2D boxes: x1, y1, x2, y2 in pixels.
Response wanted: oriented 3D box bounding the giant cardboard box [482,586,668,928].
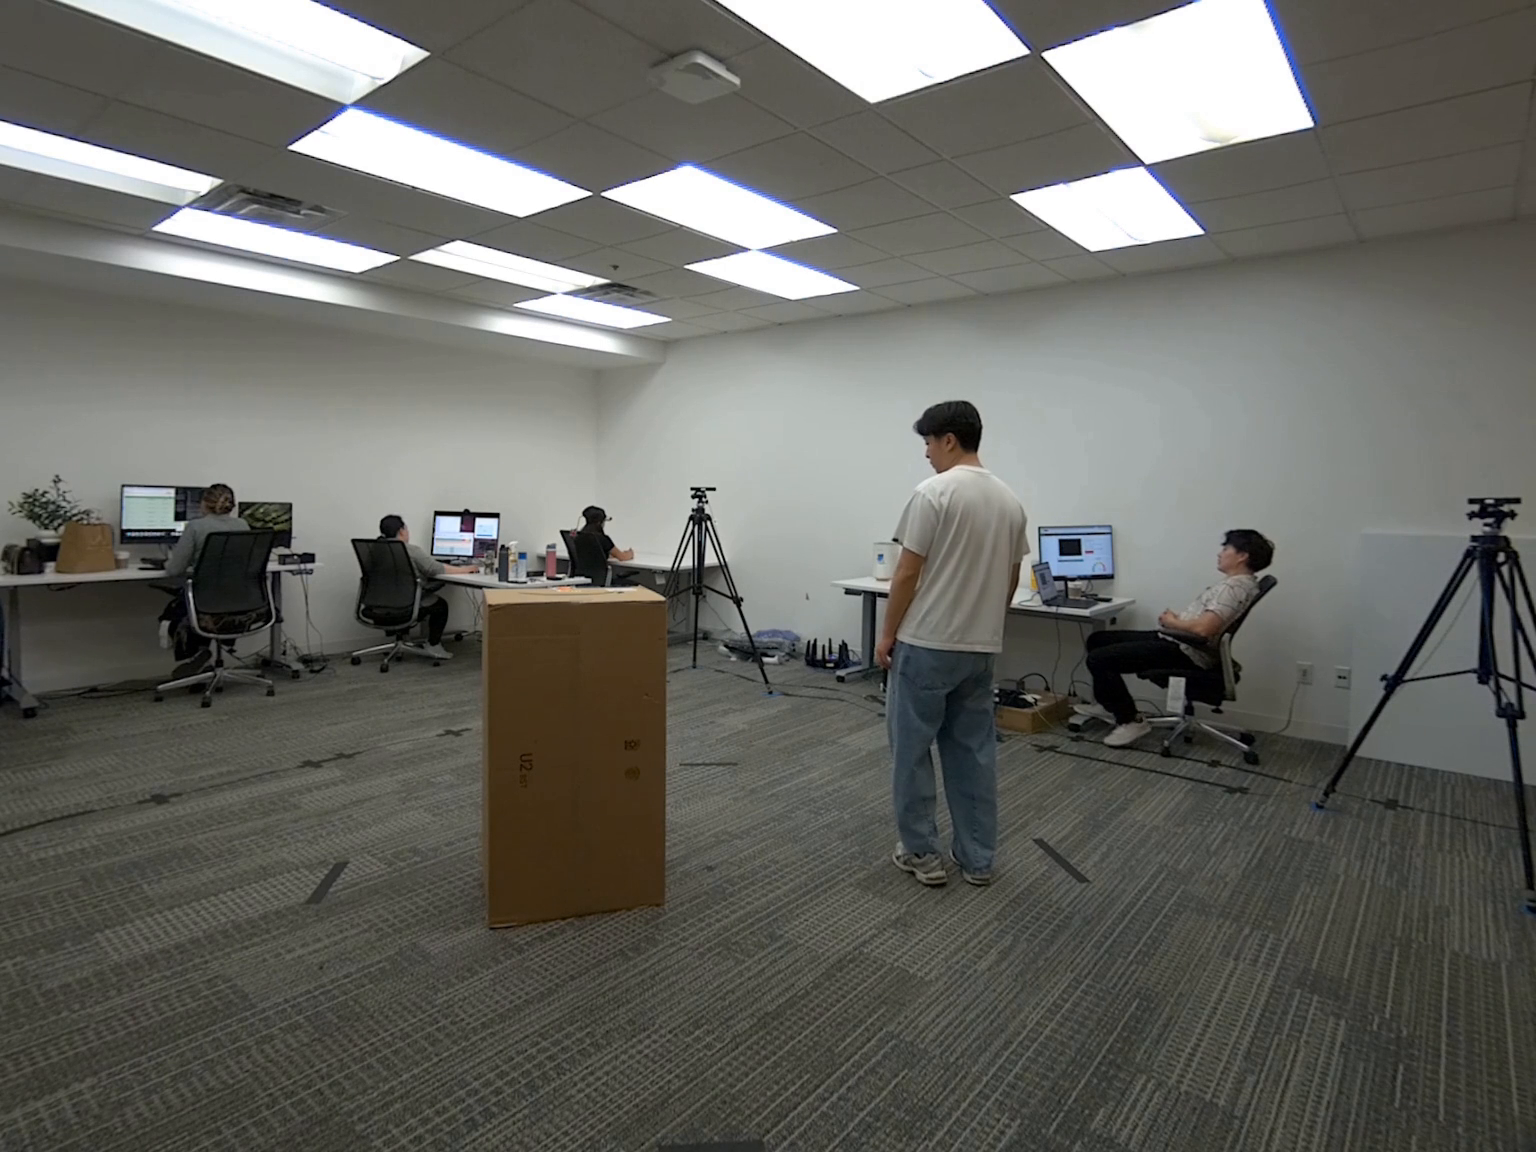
[{"bbox_3d":[-0.683,0.566,2.917,0.566,1.023,0.436,-1,3,-20],"label":"giant cardboard box"}]
